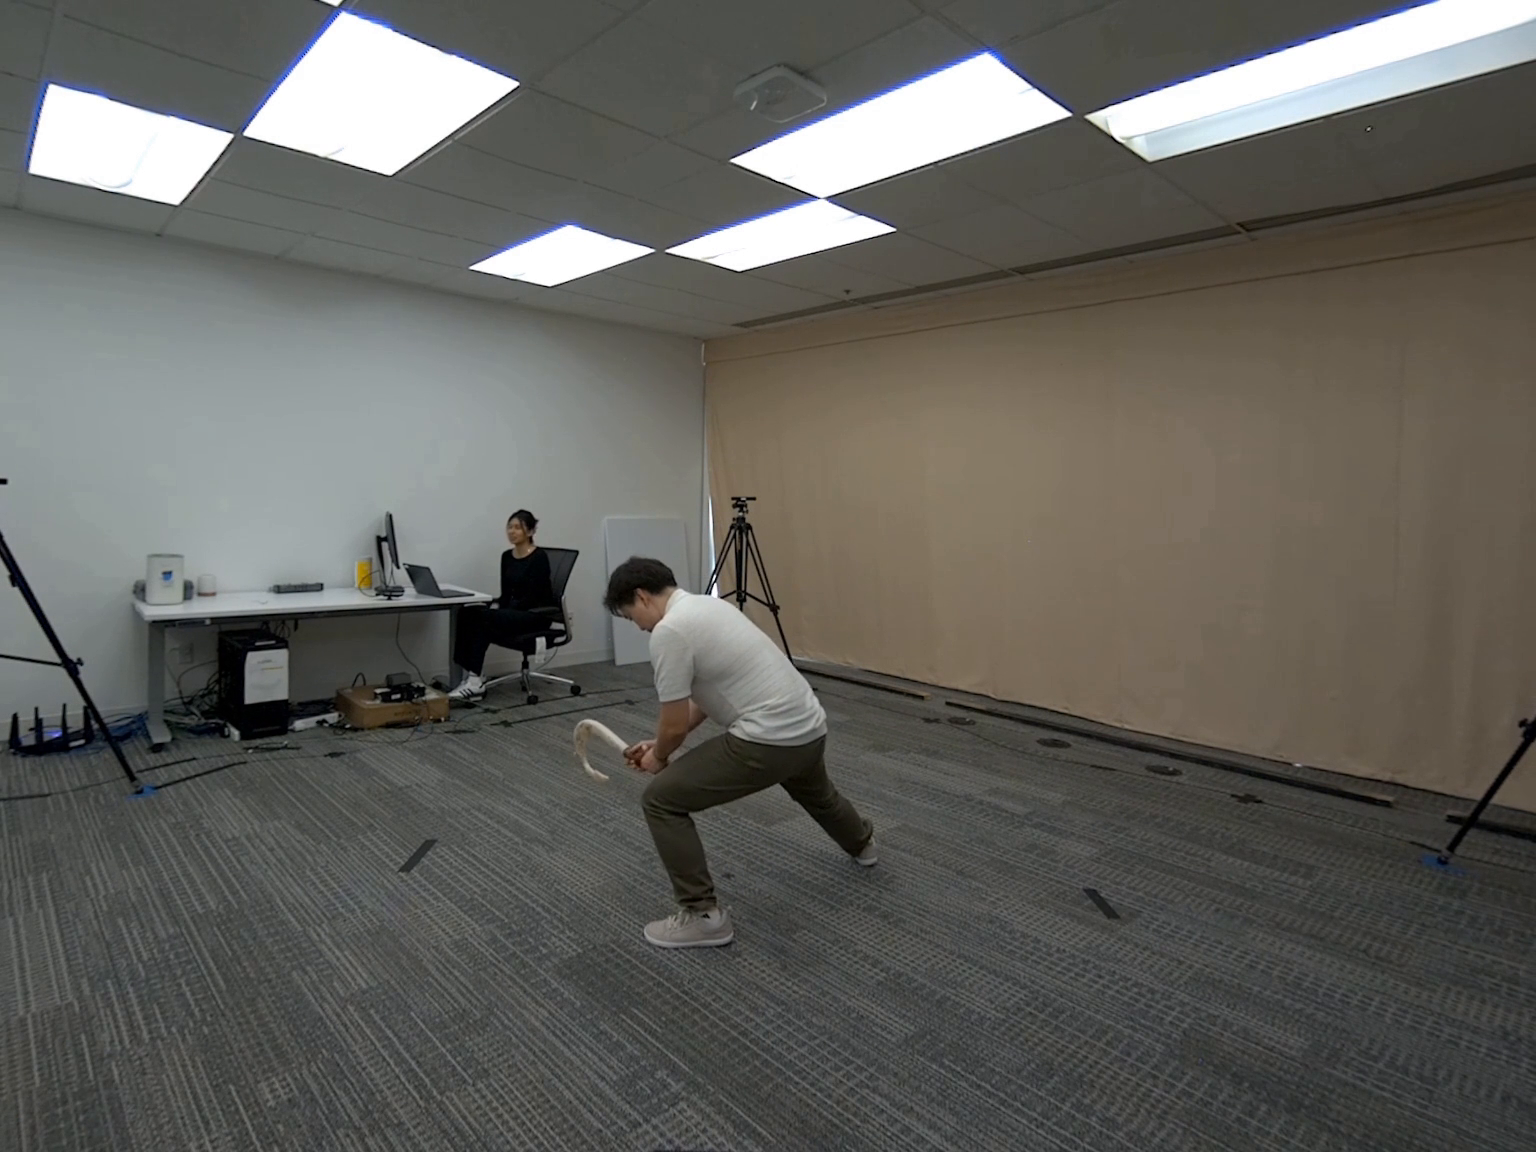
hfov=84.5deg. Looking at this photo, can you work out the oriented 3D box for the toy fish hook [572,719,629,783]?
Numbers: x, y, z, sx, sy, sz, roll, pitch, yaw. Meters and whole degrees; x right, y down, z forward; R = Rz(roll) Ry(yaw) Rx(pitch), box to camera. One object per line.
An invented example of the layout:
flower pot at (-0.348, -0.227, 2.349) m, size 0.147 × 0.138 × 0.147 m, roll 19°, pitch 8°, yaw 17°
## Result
toy fish hook at (-0.544, 0.665, 3.006) m, size 0.047 × 0.222 × 0.521 m, roll -12°, pitch 18°, yaw -43°
